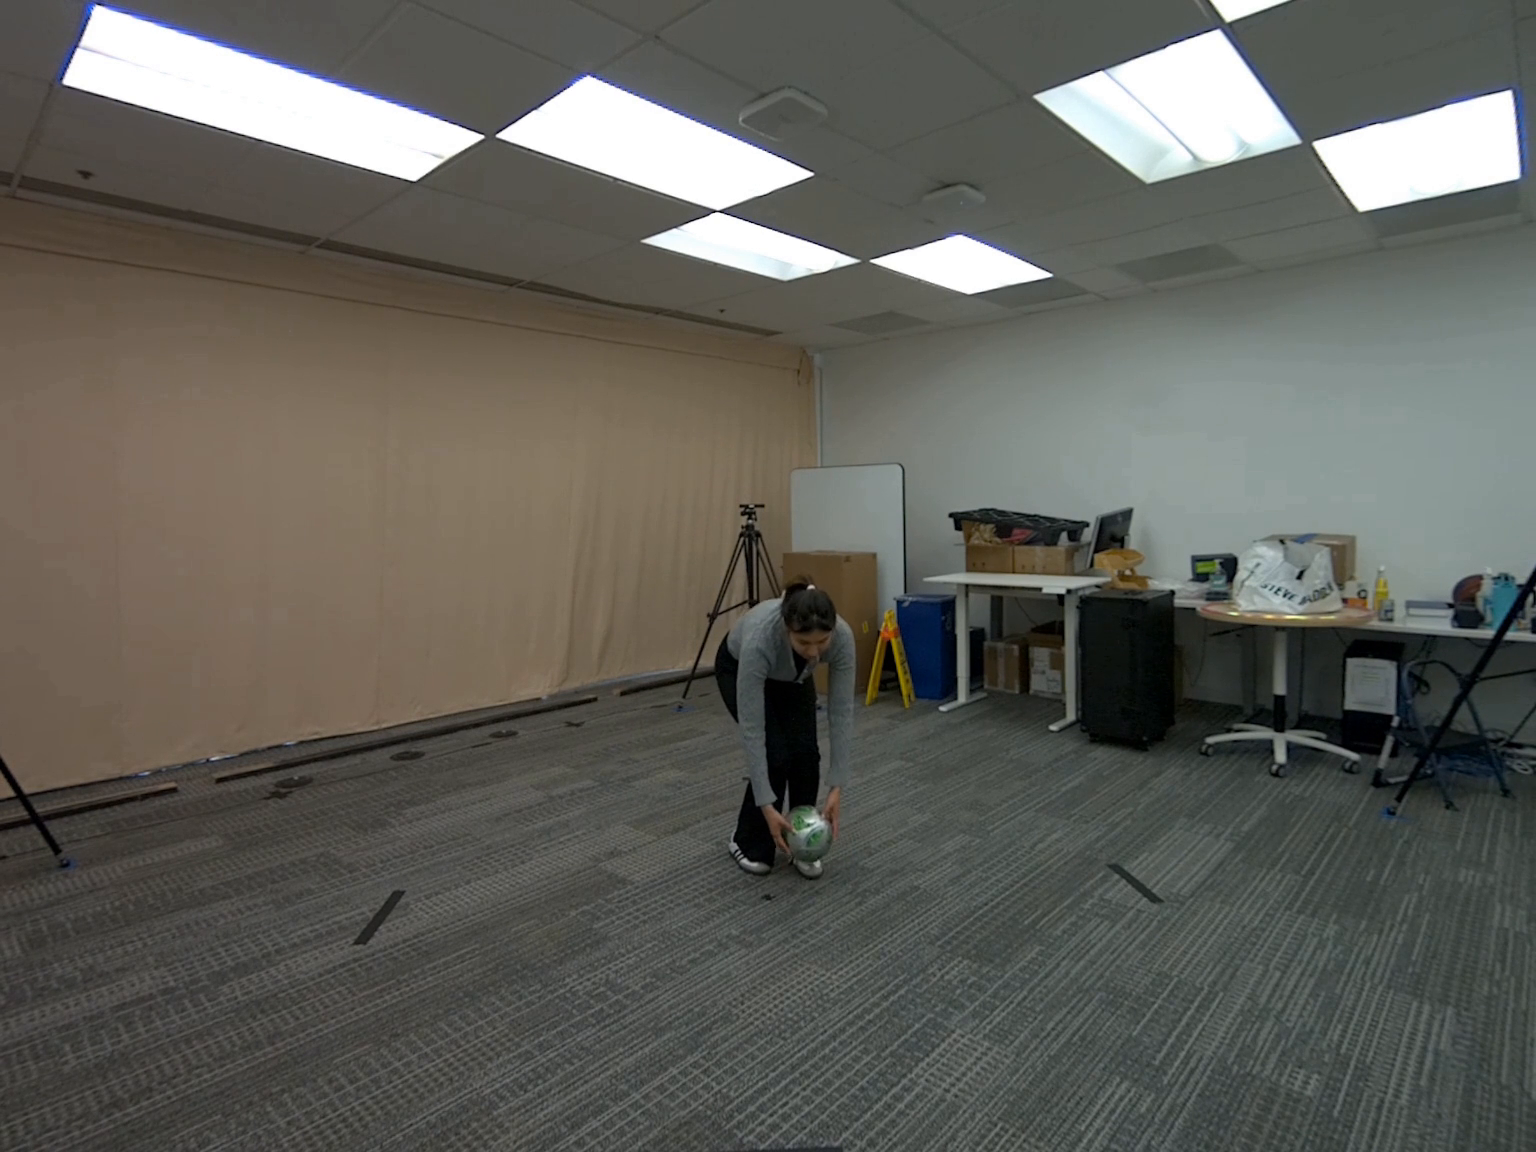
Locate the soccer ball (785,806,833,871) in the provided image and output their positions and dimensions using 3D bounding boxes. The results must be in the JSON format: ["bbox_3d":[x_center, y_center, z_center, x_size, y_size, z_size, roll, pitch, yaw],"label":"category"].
[{"bbox_3d":[0.133,0.889,2.965,0.187,0.187,0.188,-1,4,-2],"label":"soccer ball"}]
